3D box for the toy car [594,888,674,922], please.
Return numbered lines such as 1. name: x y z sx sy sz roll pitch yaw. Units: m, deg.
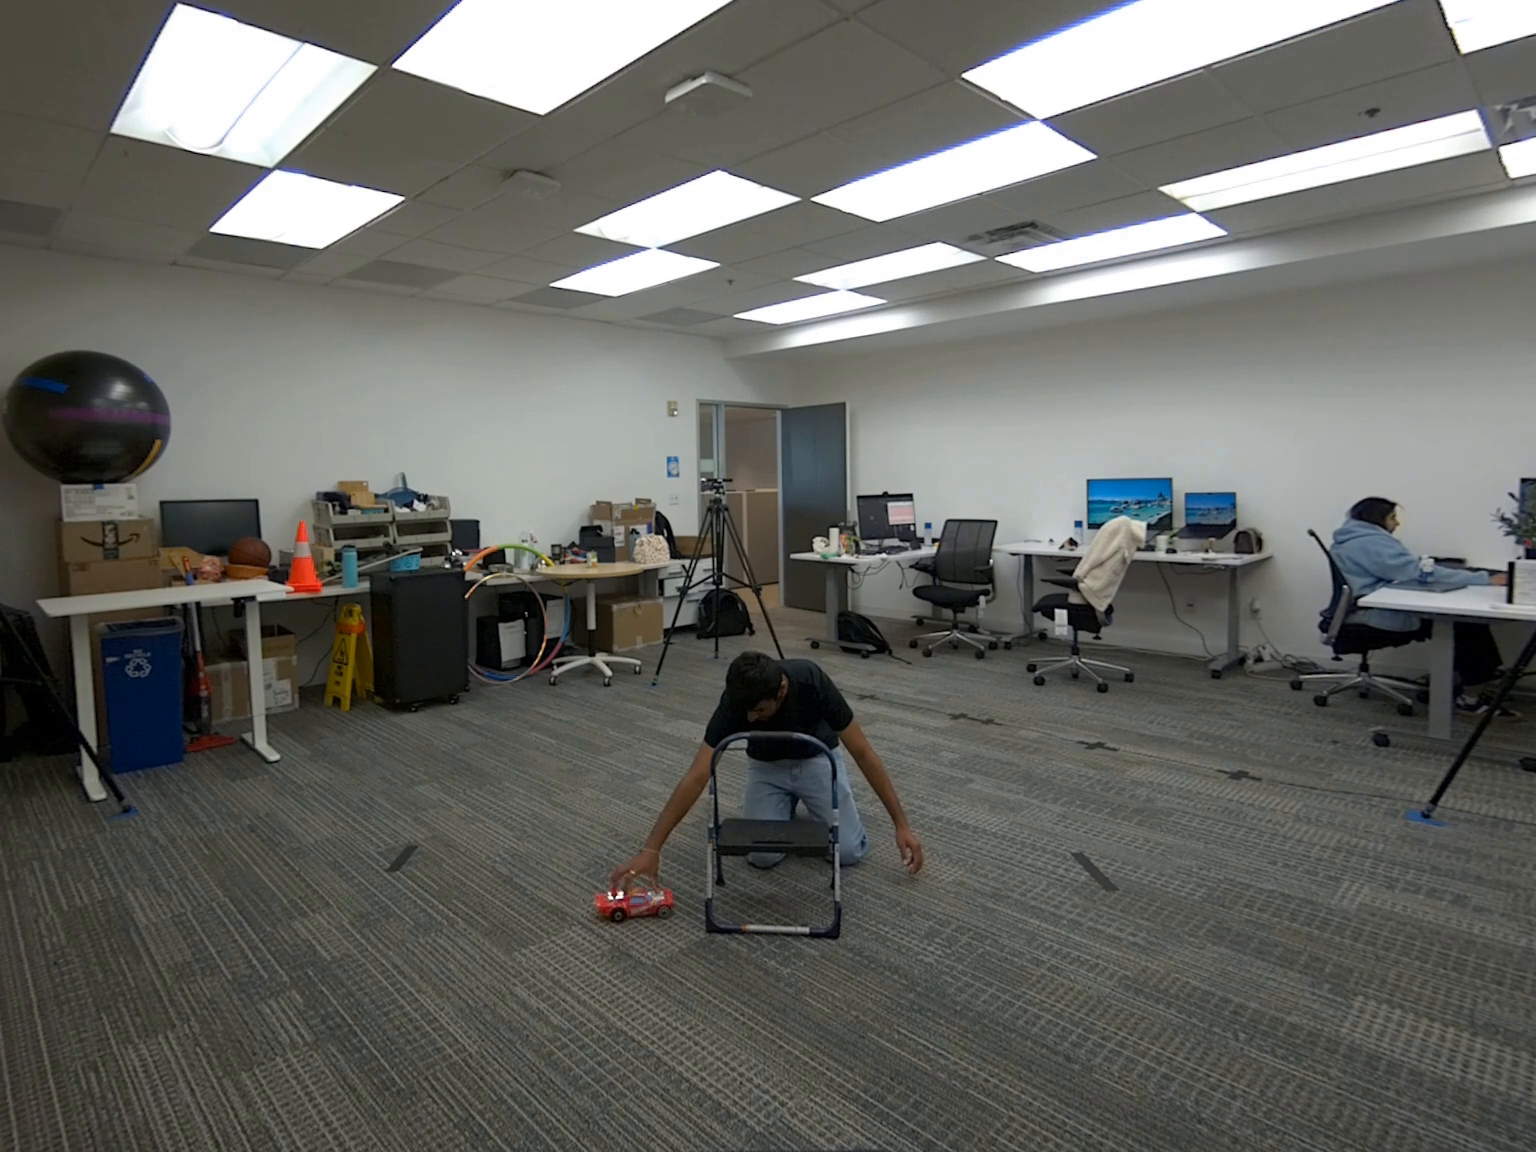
1. toy car: -0.425 1.058 2.768 0.252 0.083 0.132 10 1 -10
